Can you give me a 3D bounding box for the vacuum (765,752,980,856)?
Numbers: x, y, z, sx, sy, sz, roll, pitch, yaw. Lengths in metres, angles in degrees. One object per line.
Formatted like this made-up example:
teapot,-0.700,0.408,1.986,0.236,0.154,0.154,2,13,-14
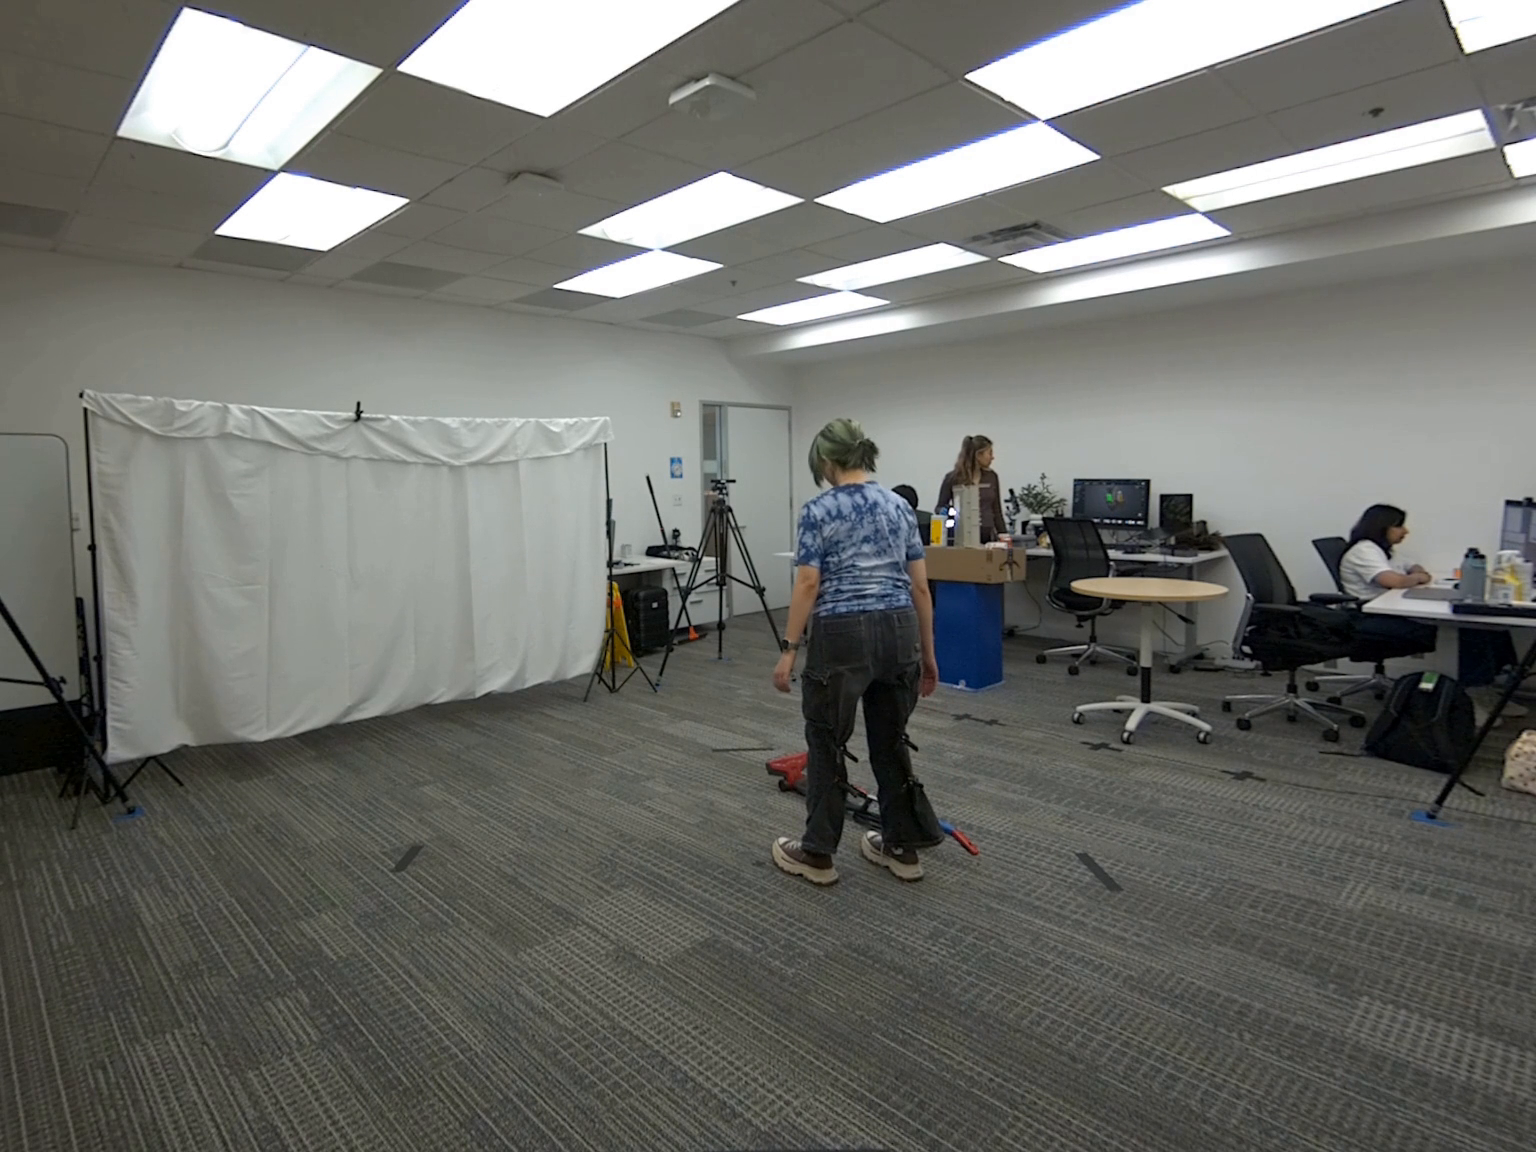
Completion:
vacuum,0.415,0.941,3.455,0.246,0.143,1.082,-8,11,-36
